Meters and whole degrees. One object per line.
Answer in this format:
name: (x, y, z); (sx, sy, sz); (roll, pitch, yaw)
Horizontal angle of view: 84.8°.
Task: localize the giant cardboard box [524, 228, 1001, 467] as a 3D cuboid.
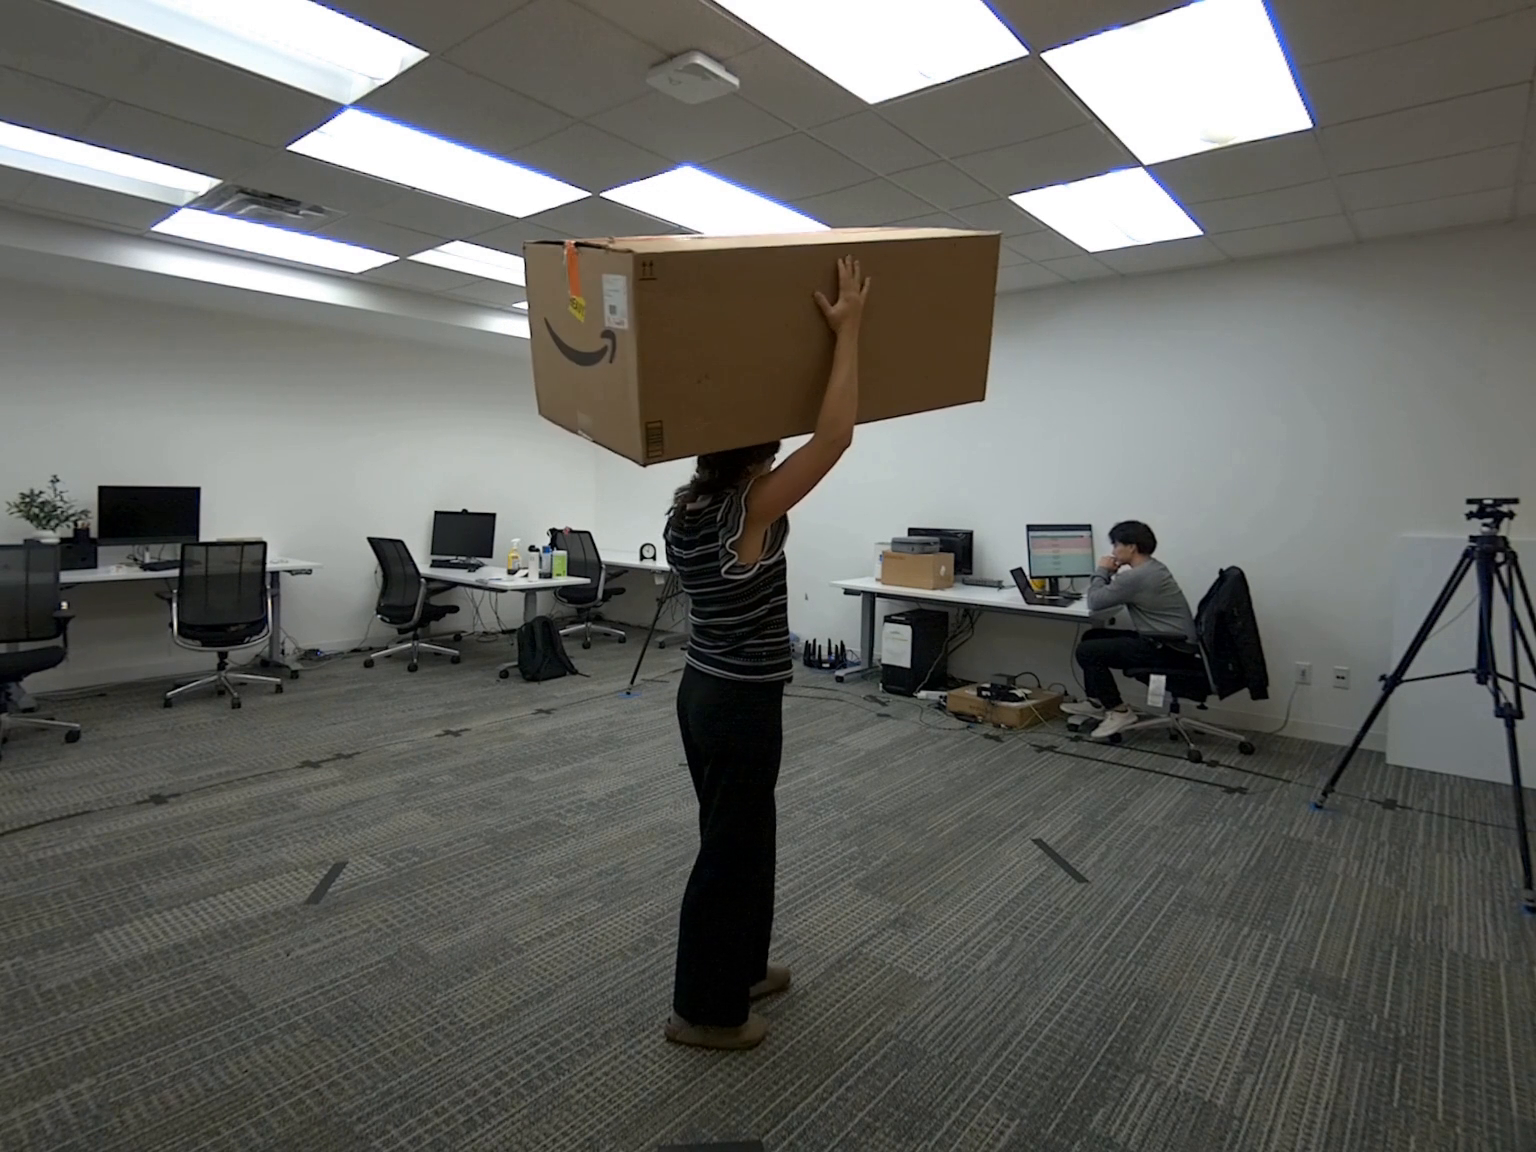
giant cardboard box: (-0.016, -0.624, 2.140); (1.005, 0.417, 0.601); (-16, 27, -31)
